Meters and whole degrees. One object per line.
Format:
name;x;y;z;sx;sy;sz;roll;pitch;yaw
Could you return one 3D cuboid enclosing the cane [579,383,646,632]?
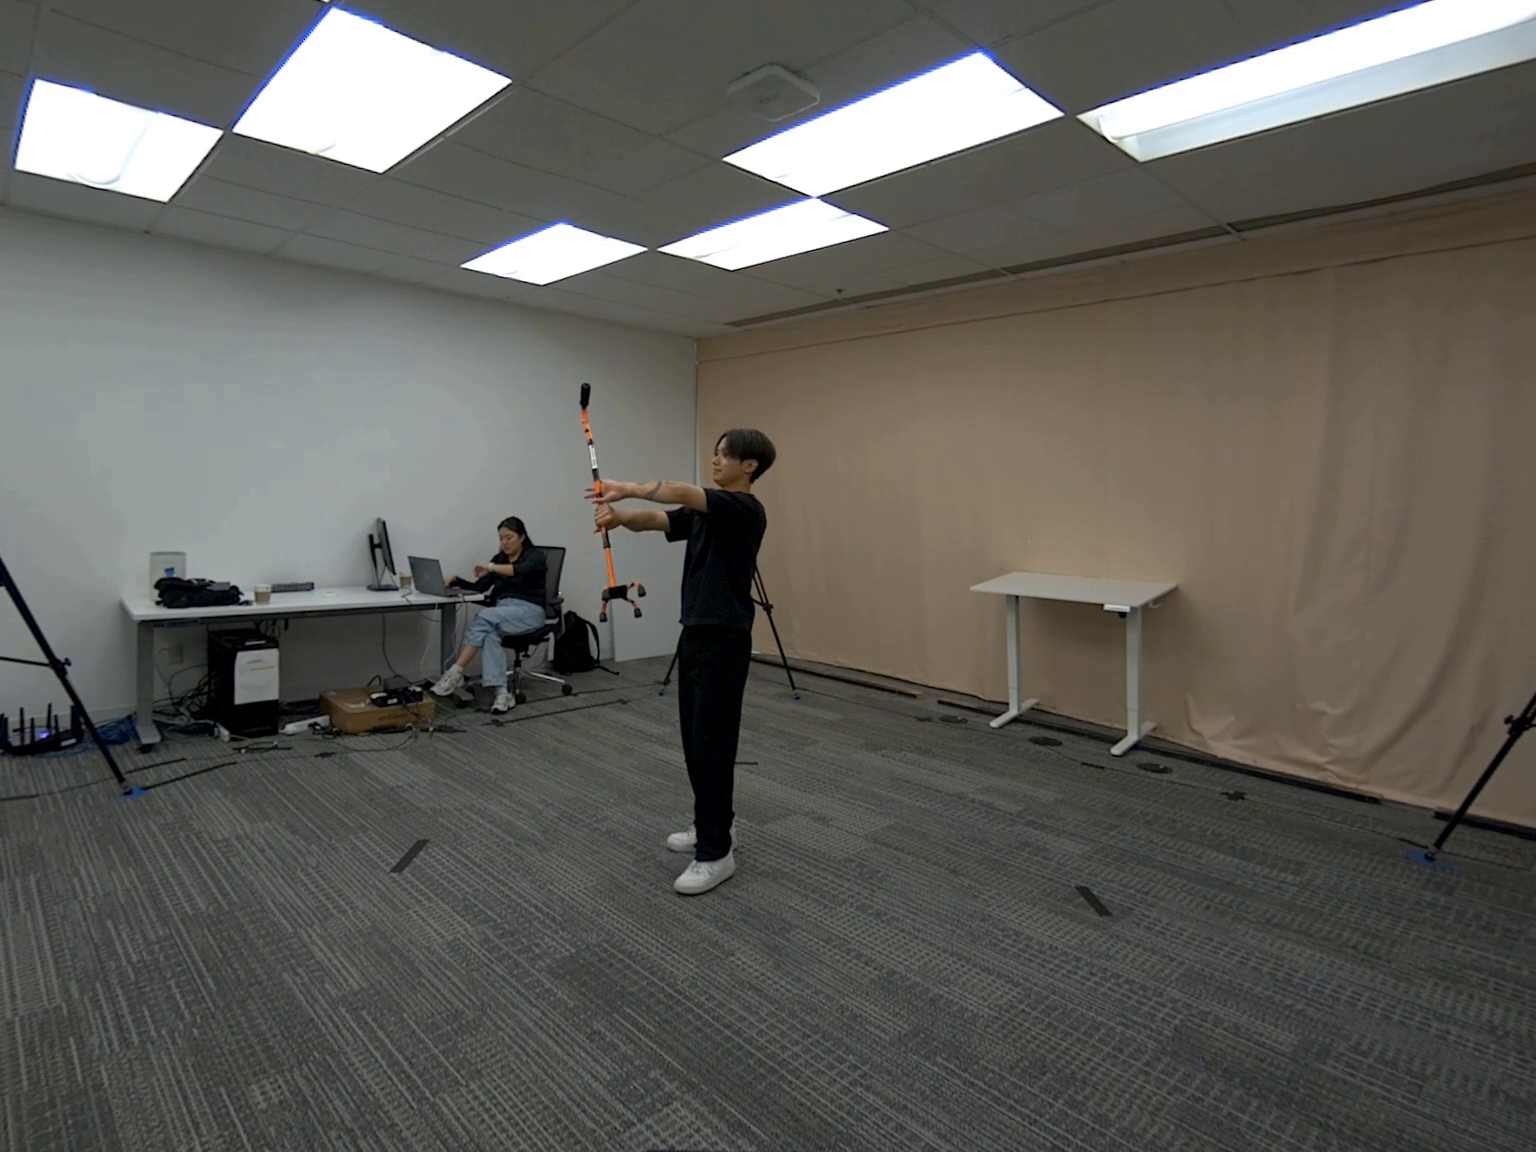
cane;-0.614;-0.291;3.106;0.150;0.927;0.205;-7;-26;-18
